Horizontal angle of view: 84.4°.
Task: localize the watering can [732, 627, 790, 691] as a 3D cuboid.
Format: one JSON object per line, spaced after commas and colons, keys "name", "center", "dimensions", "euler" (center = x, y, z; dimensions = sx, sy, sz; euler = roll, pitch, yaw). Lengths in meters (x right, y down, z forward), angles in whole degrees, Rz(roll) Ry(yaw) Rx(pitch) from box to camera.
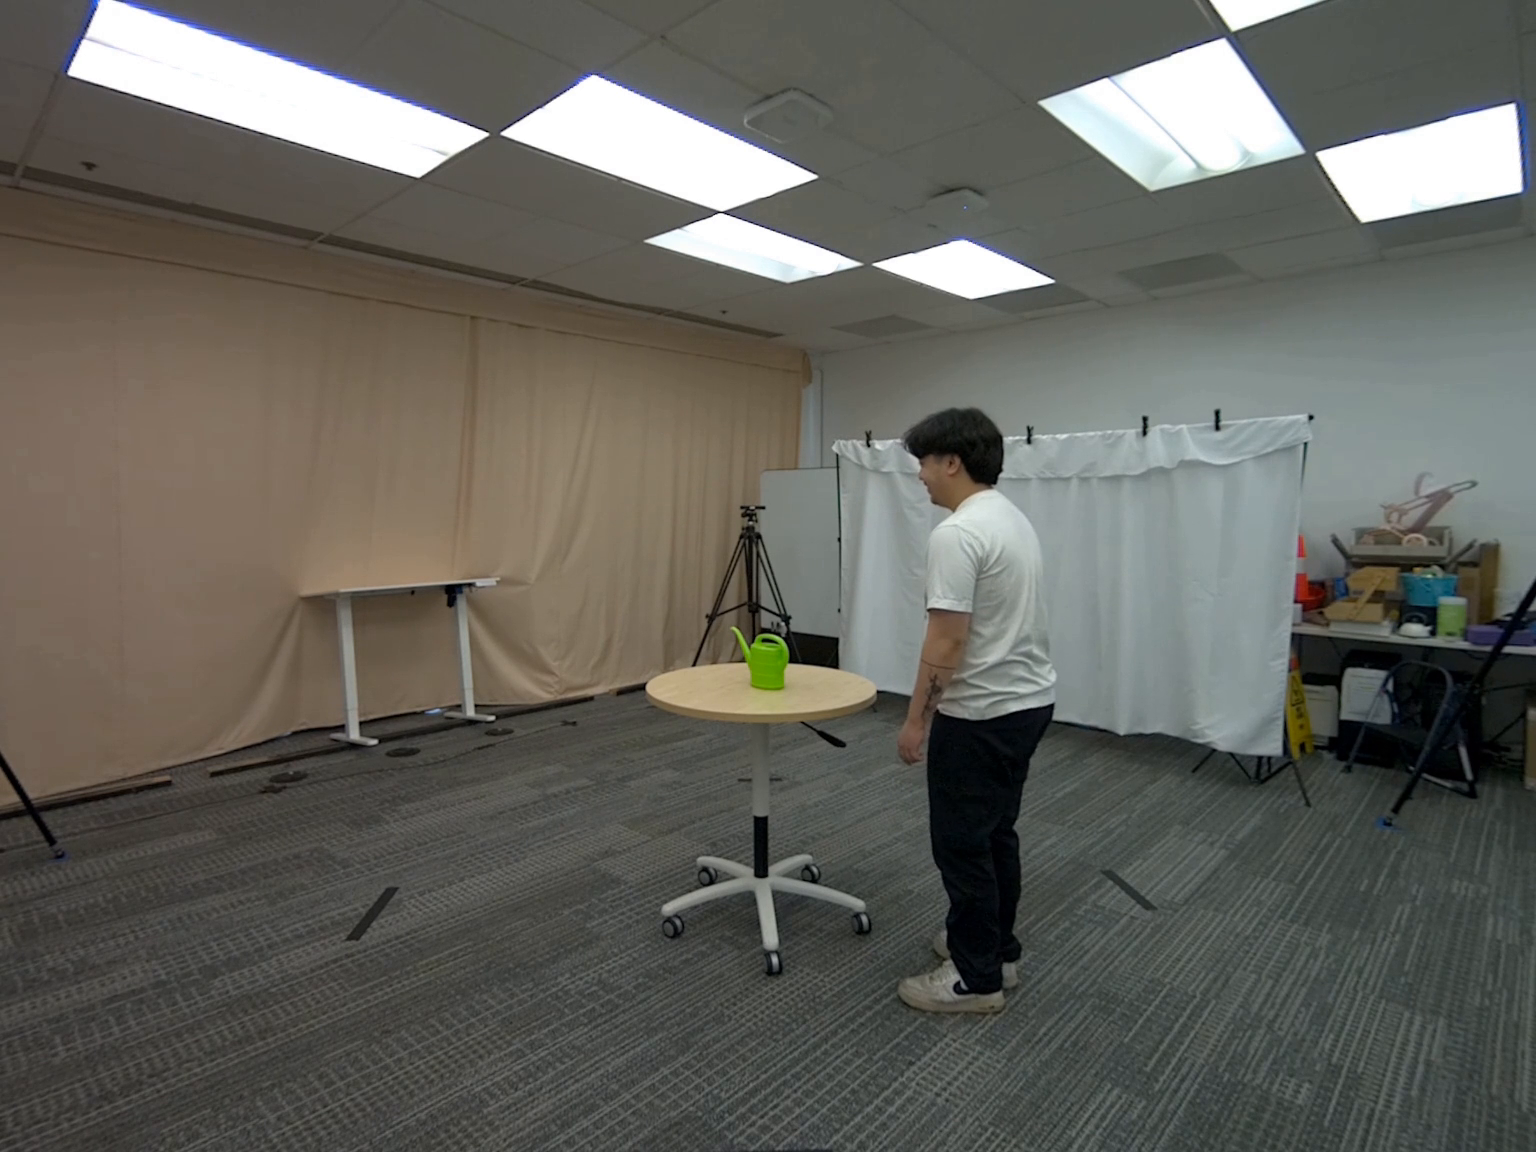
{"name": "watering can", "center": [-0.019, 0.277, 2.821], "dimensions": [0.095, 0.176, 0.287], "euler": [0, 6, -31]}
